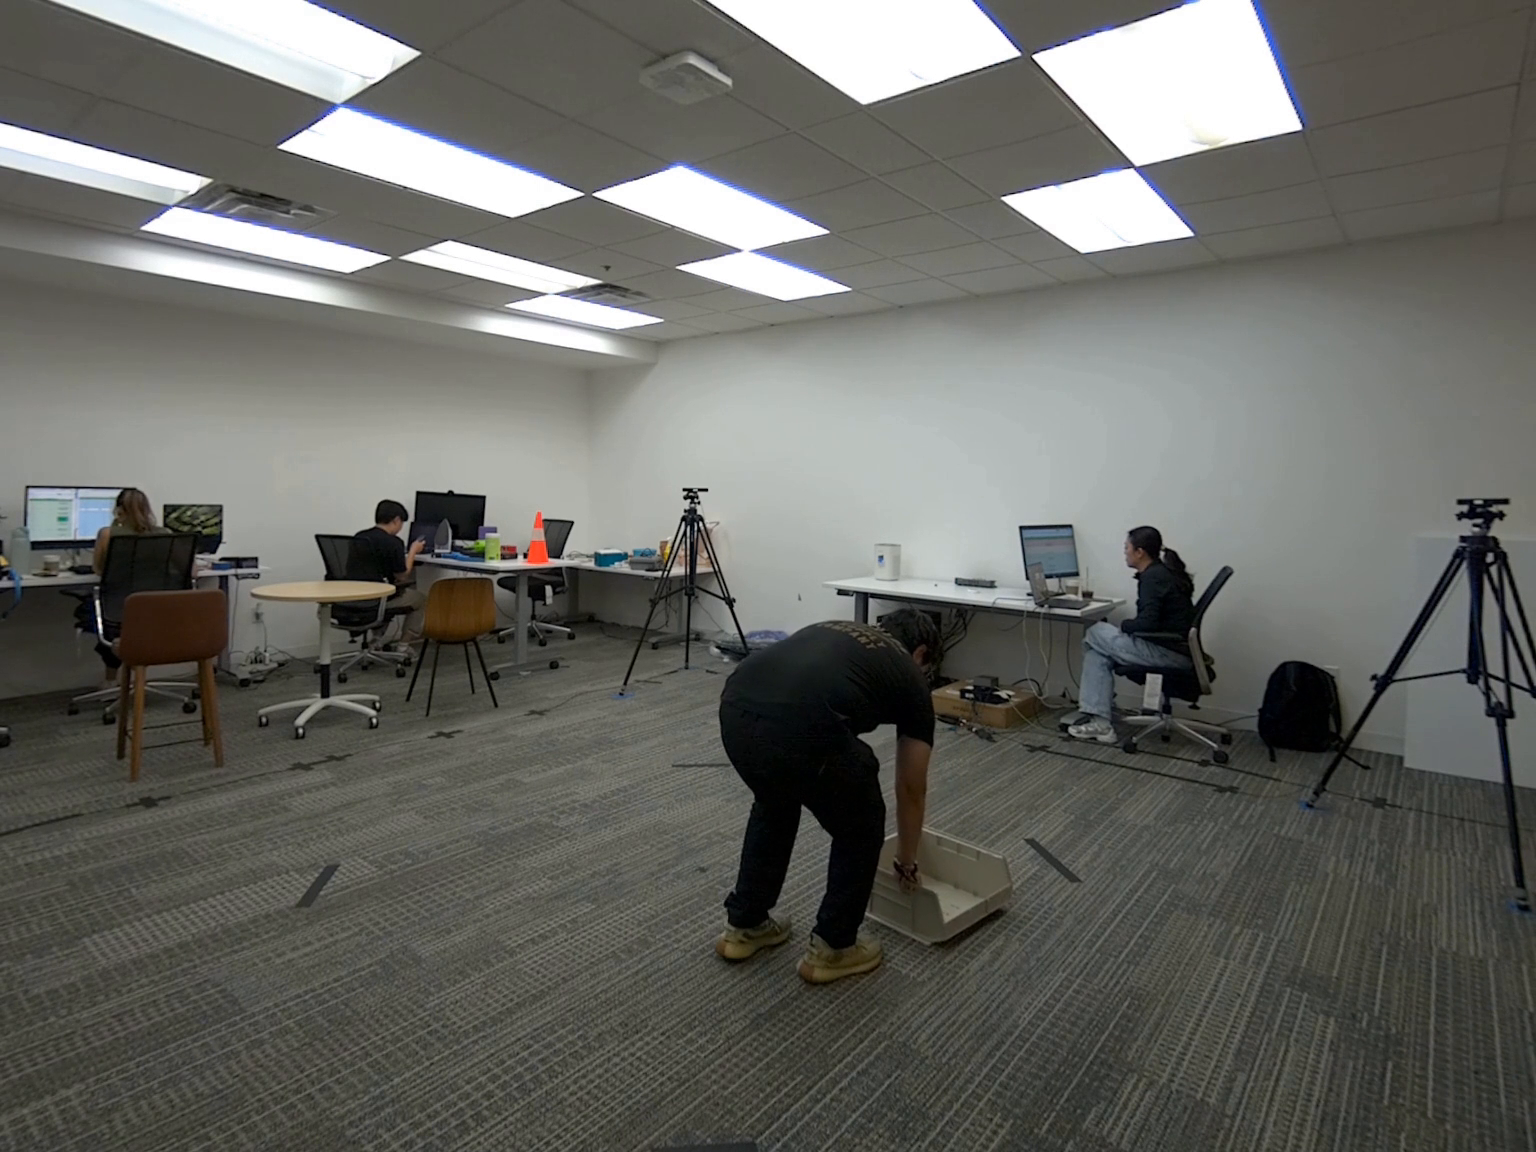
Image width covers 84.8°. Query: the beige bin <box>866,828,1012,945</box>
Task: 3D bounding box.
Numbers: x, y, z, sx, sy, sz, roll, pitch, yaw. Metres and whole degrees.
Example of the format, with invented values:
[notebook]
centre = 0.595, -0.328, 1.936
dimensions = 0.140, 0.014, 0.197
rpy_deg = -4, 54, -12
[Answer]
[beige bin]
centre = 0.537, 1.020, 2.849
dimensions = 0.410, 0.188, 0.390
rpy_deg = -4, 6, -44
